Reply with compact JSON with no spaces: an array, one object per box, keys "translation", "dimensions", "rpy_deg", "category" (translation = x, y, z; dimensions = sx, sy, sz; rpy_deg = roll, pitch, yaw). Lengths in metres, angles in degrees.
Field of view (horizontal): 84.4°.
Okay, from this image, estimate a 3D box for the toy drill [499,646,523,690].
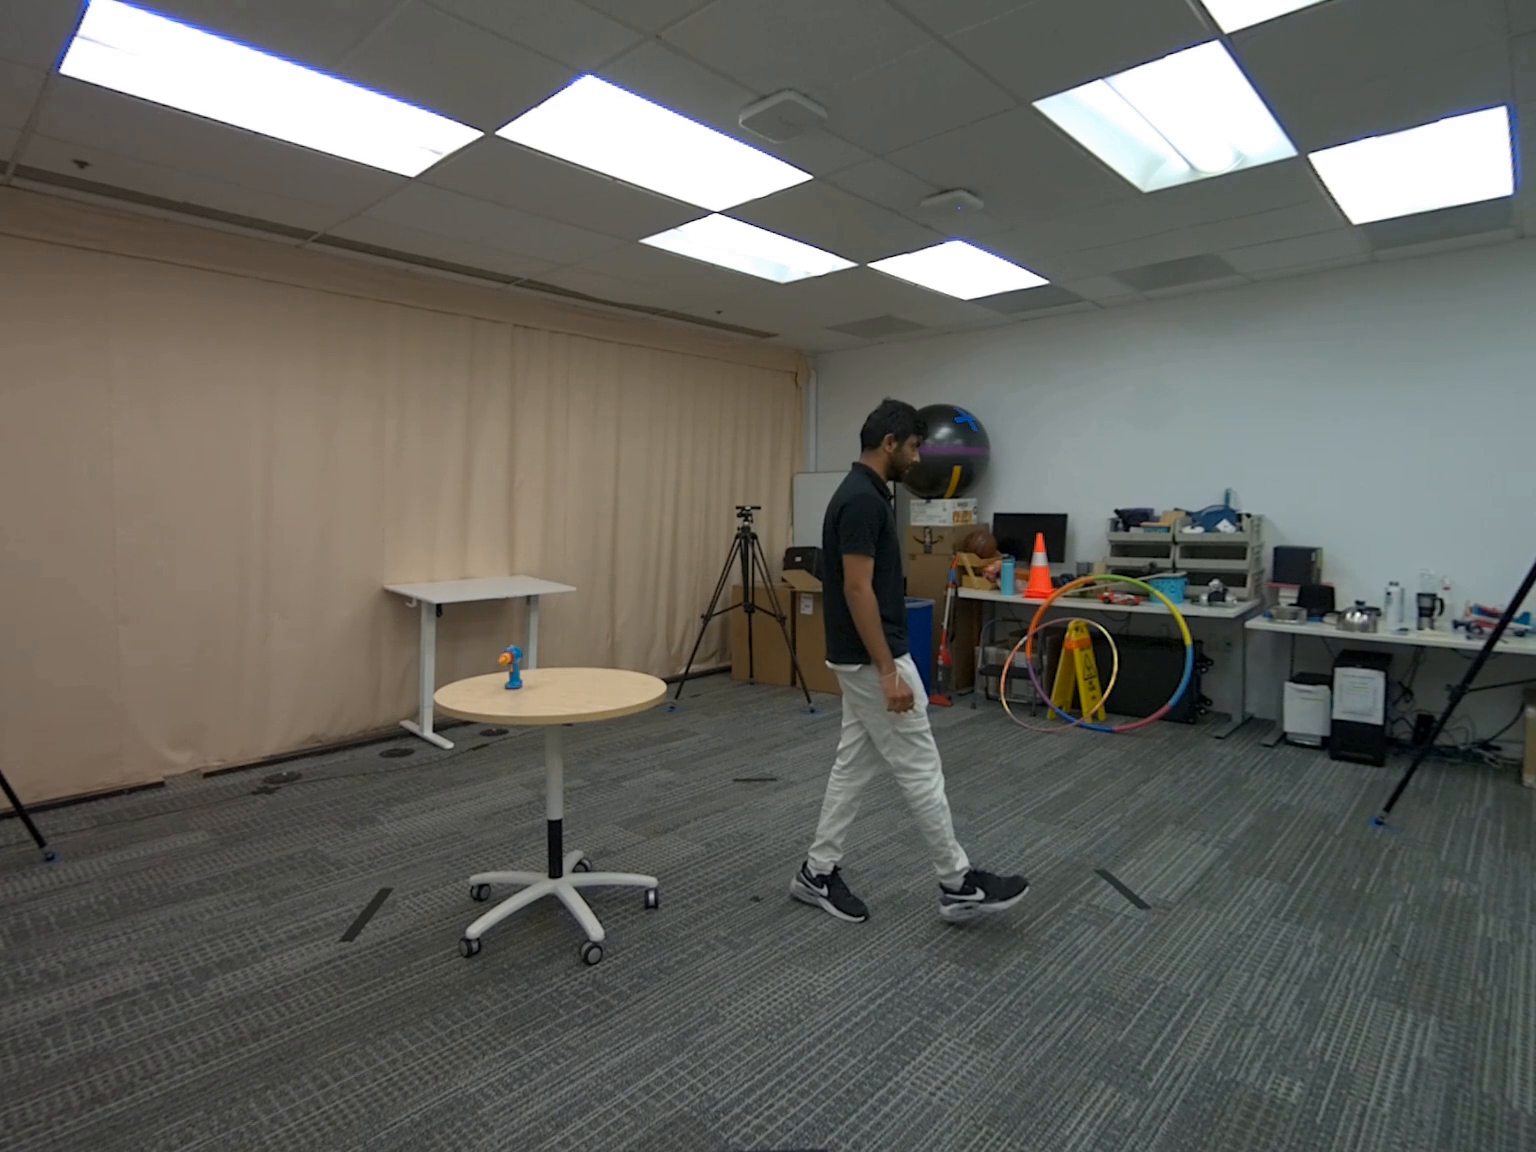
[{"translation":[-0.862,0.311,2.801],"dimensions":[0.061,0.146,0.169],"rpy_deg":[0,3,1],"category":"toy drill"}]
